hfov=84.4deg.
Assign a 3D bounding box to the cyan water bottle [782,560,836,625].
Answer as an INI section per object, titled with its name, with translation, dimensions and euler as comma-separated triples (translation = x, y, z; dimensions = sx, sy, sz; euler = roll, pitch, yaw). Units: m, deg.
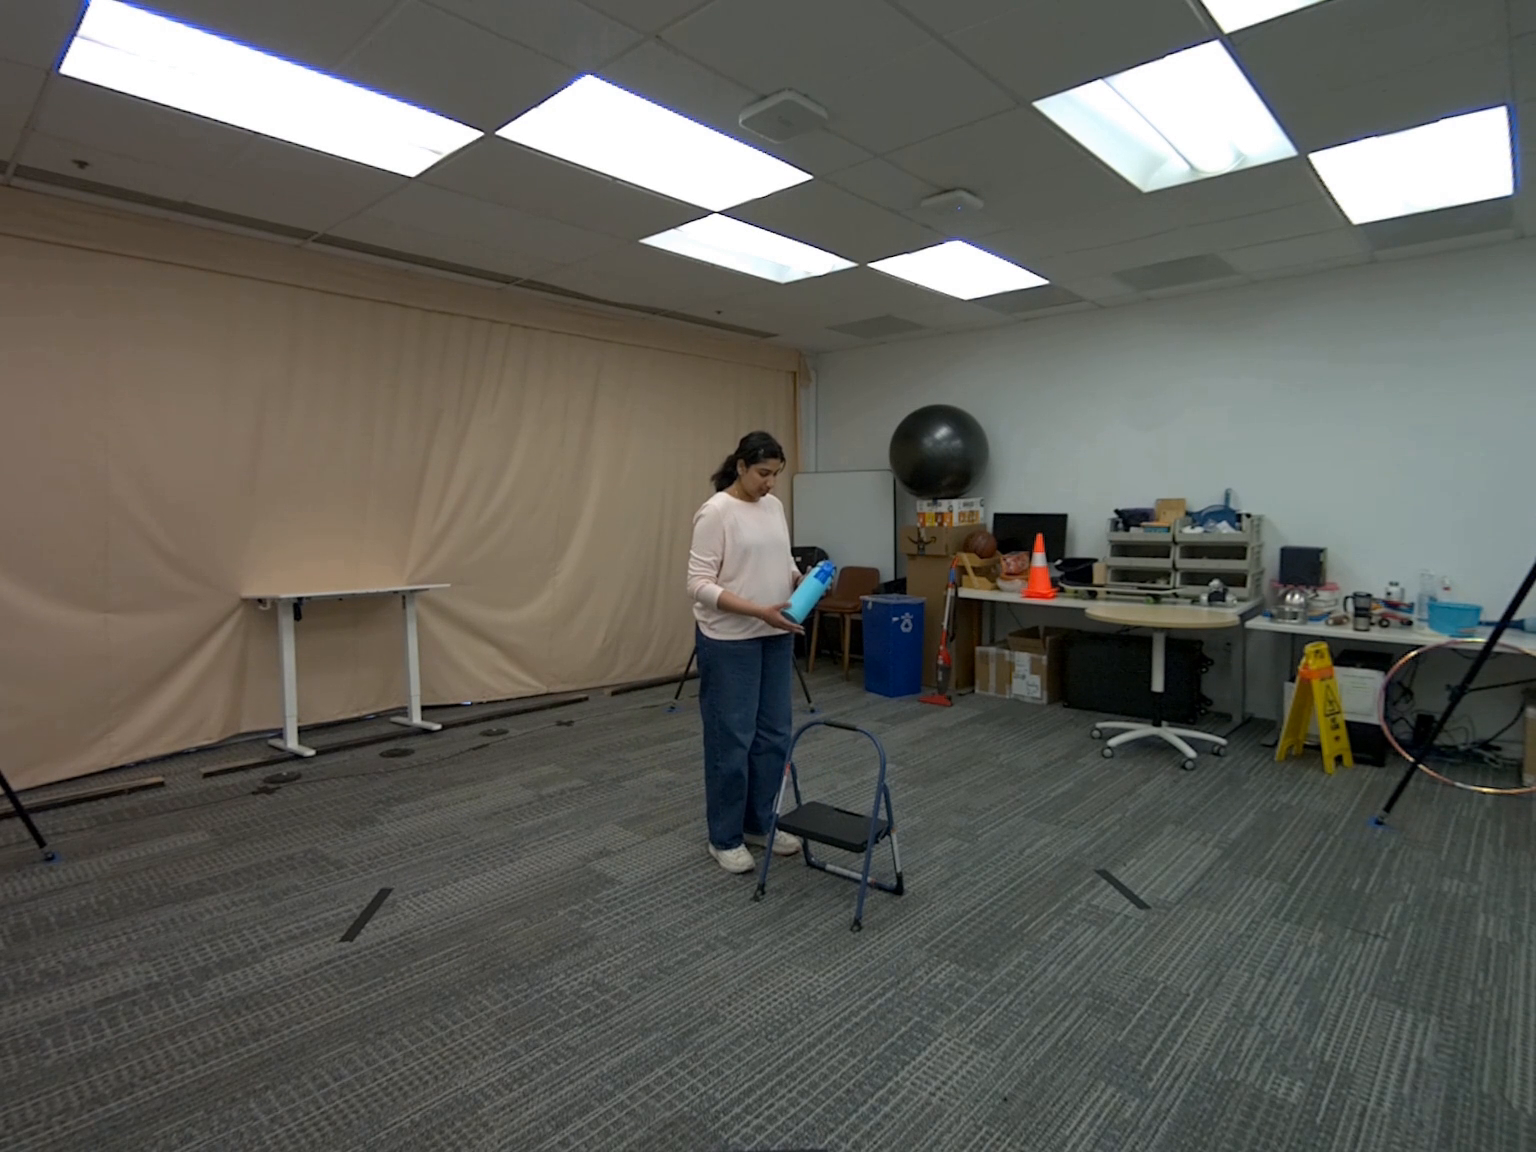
[cyan water bottle]
translation = 0.168, 0.054, 3.135
dimensions = 0.094, 0.282, 0.091
euler = 31, -22, 12
